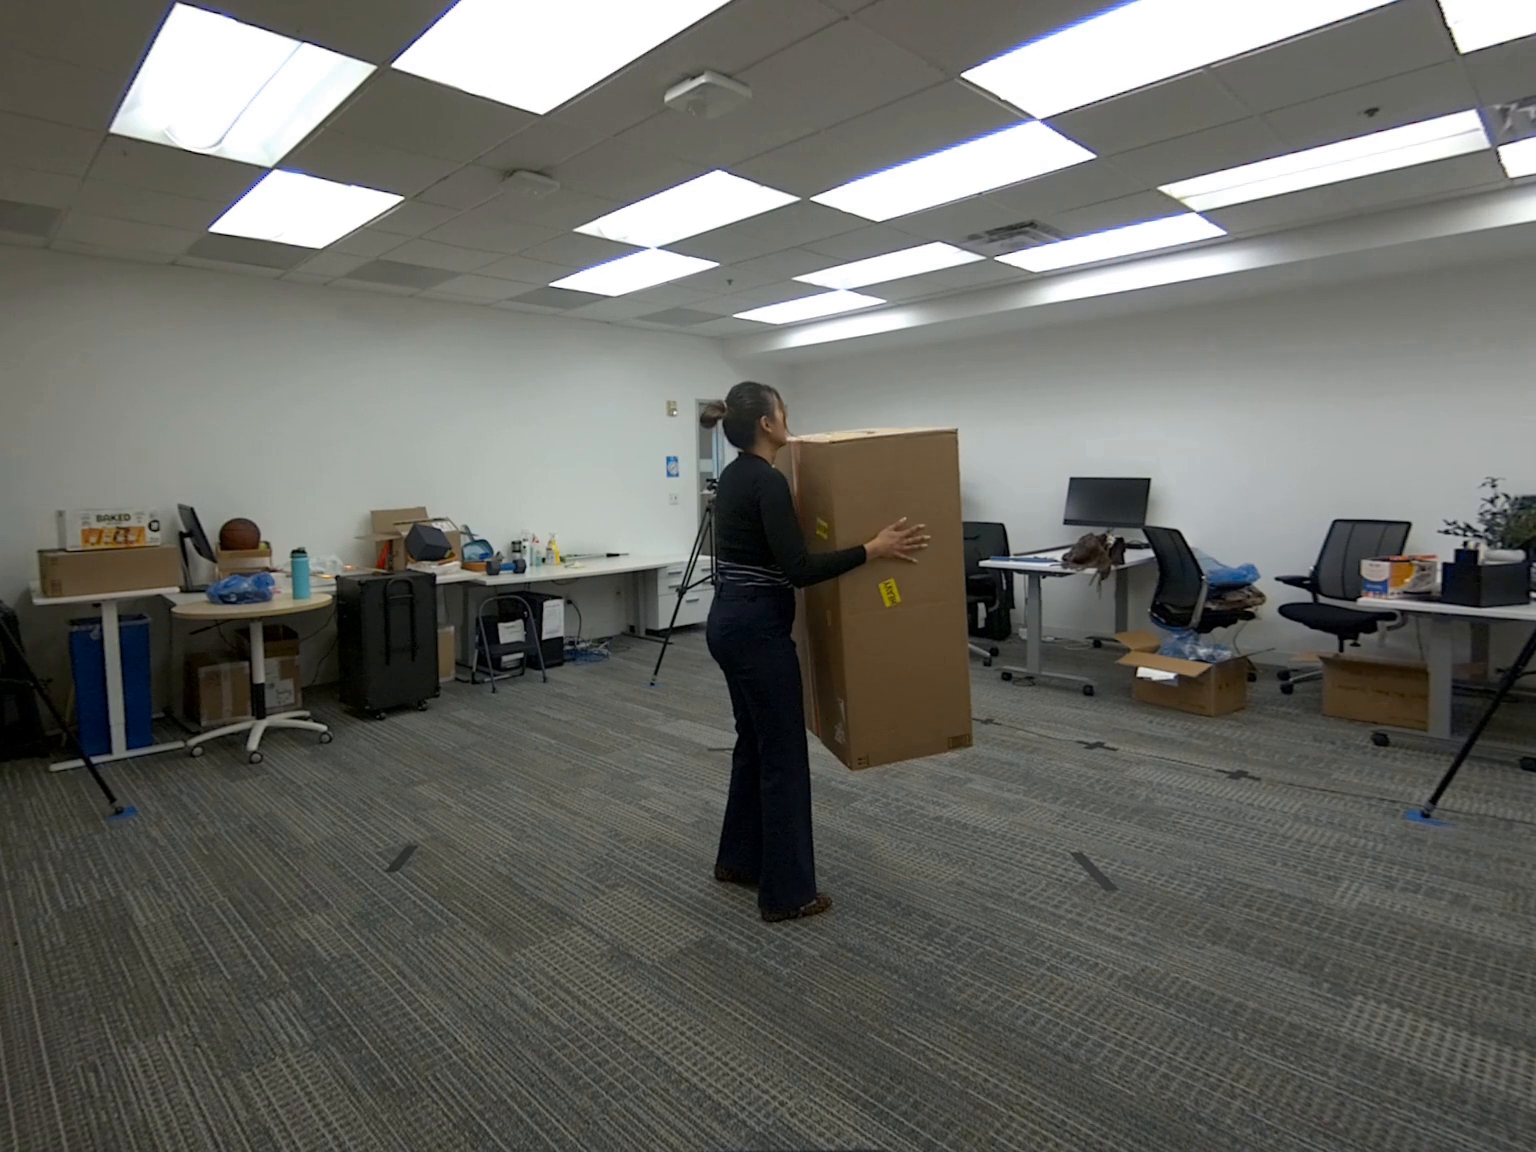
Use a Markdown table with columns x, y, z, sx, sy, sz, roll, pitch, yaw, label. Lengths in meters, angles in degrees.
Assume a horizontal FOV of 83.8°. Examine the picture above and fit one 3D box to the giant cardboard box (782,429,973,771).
| x | y | z | sx | sy | sz | roll | pitch | yaw | label |
| --- | --- | --- | --- | --- | --- | --- | --- | --- | --- |
| 0.335 | 0.031 | 2.889 | 0.421 | 1.017 | 0.590 | -7 | 9 | -15 | giant cardboard box |
